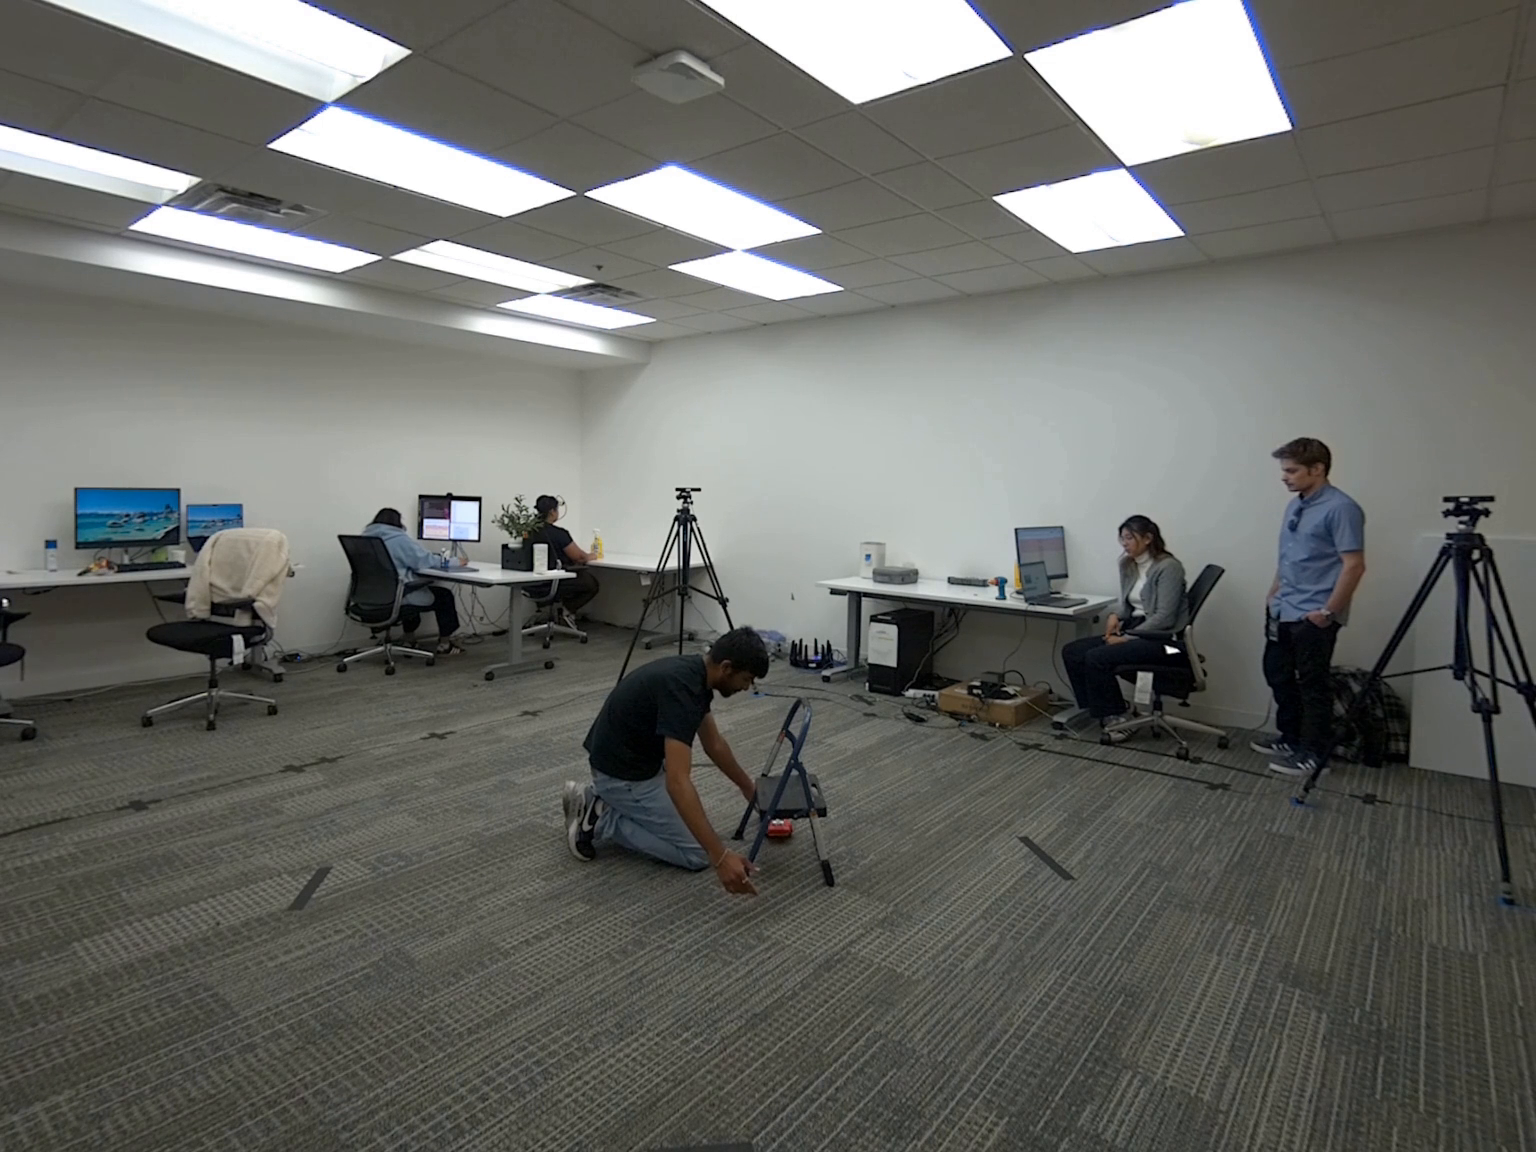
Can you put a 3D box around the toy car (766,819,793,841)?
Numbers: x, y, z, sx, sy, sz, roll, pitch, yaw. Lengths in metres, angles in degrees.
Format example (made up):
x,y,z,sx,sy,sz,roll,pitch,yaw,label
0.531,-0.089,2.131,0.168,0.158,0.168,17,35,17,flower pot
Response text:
x,y,z,sx,sy,sz,roll,pitch,yaw,label
0.033,1.023,3.448,0.130,0.084,0.251,-2,-8,1,toy car
